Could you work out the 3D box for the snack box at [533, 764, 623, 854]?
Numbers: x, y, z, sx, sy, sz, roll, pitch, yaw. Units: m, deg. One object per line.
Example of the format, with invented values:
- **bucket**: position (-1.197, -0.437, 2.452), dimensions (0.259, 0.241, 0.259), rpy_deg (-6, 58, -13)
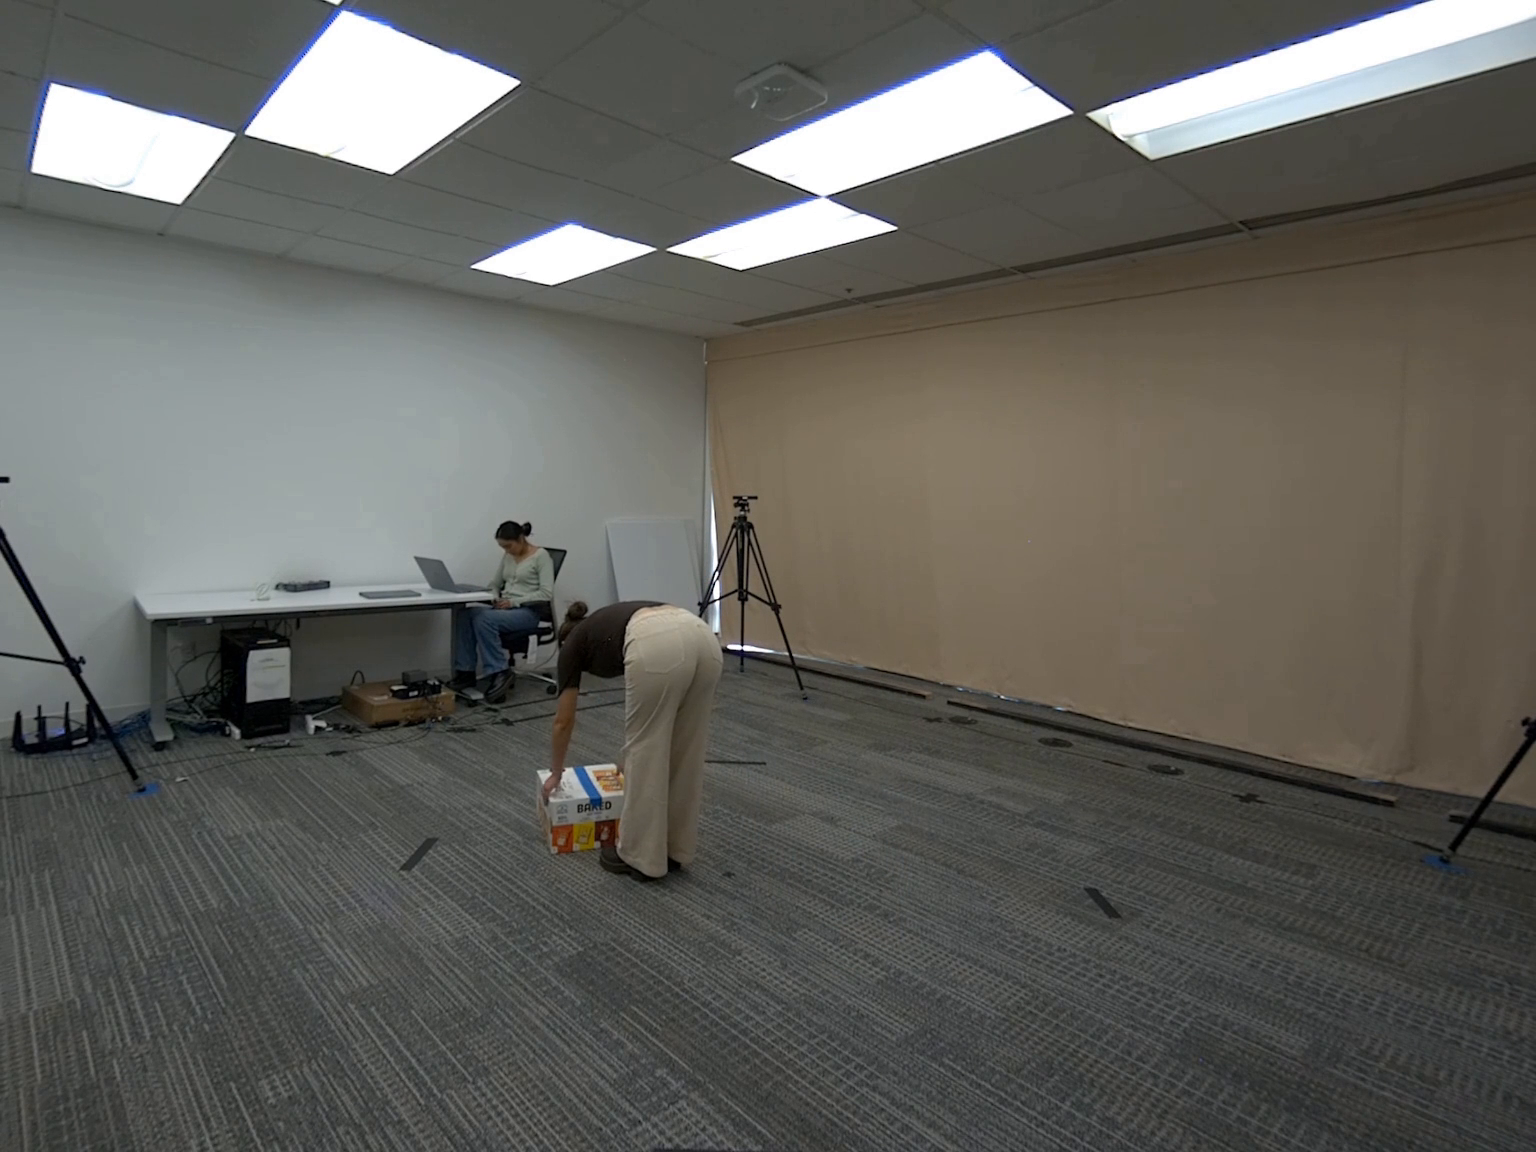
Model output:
- **snack box**: position (-0.766, 0.949, 3.482), dimensions (0.335, 0.205, 0.413), rpy_deg (0, 5, -22)
